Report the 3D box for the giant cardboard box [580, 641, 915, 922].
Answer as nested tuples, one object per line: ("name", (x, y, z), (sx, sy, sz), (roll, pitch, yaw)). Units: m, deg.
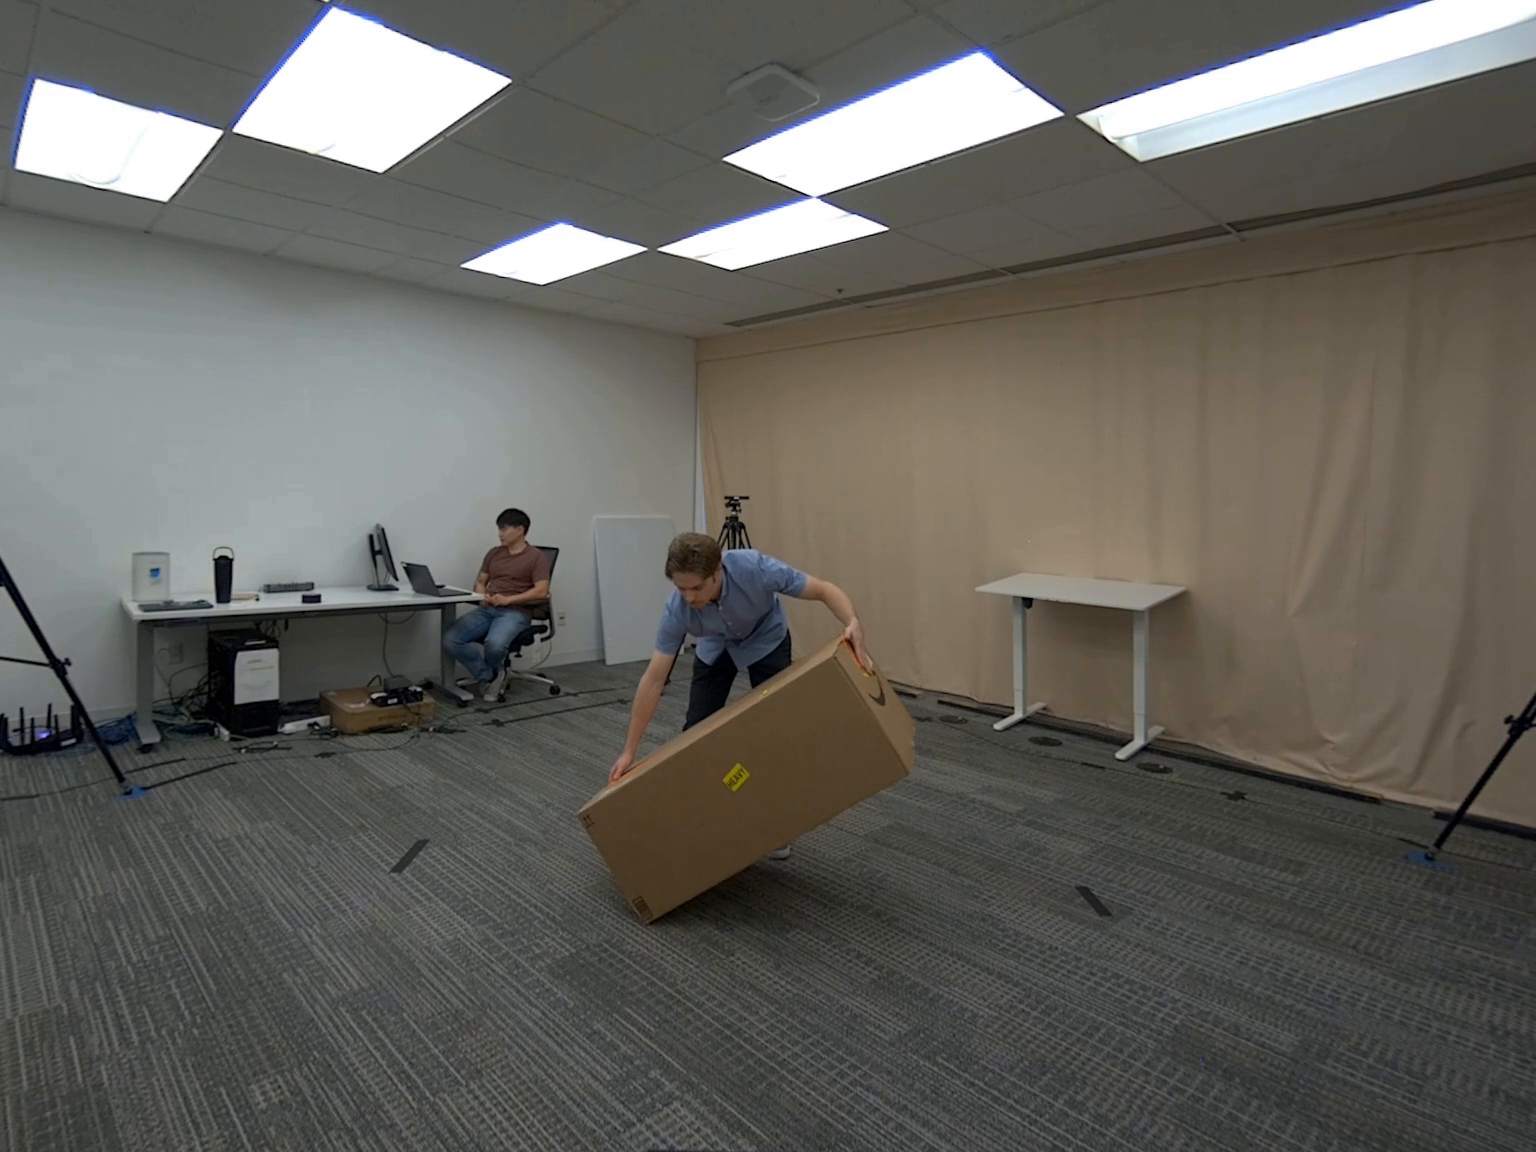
("giant cardboard box", (-0.048, 0.657, 2.899), (1.030, 0.450, 0.578), (-34, -5, 13))
